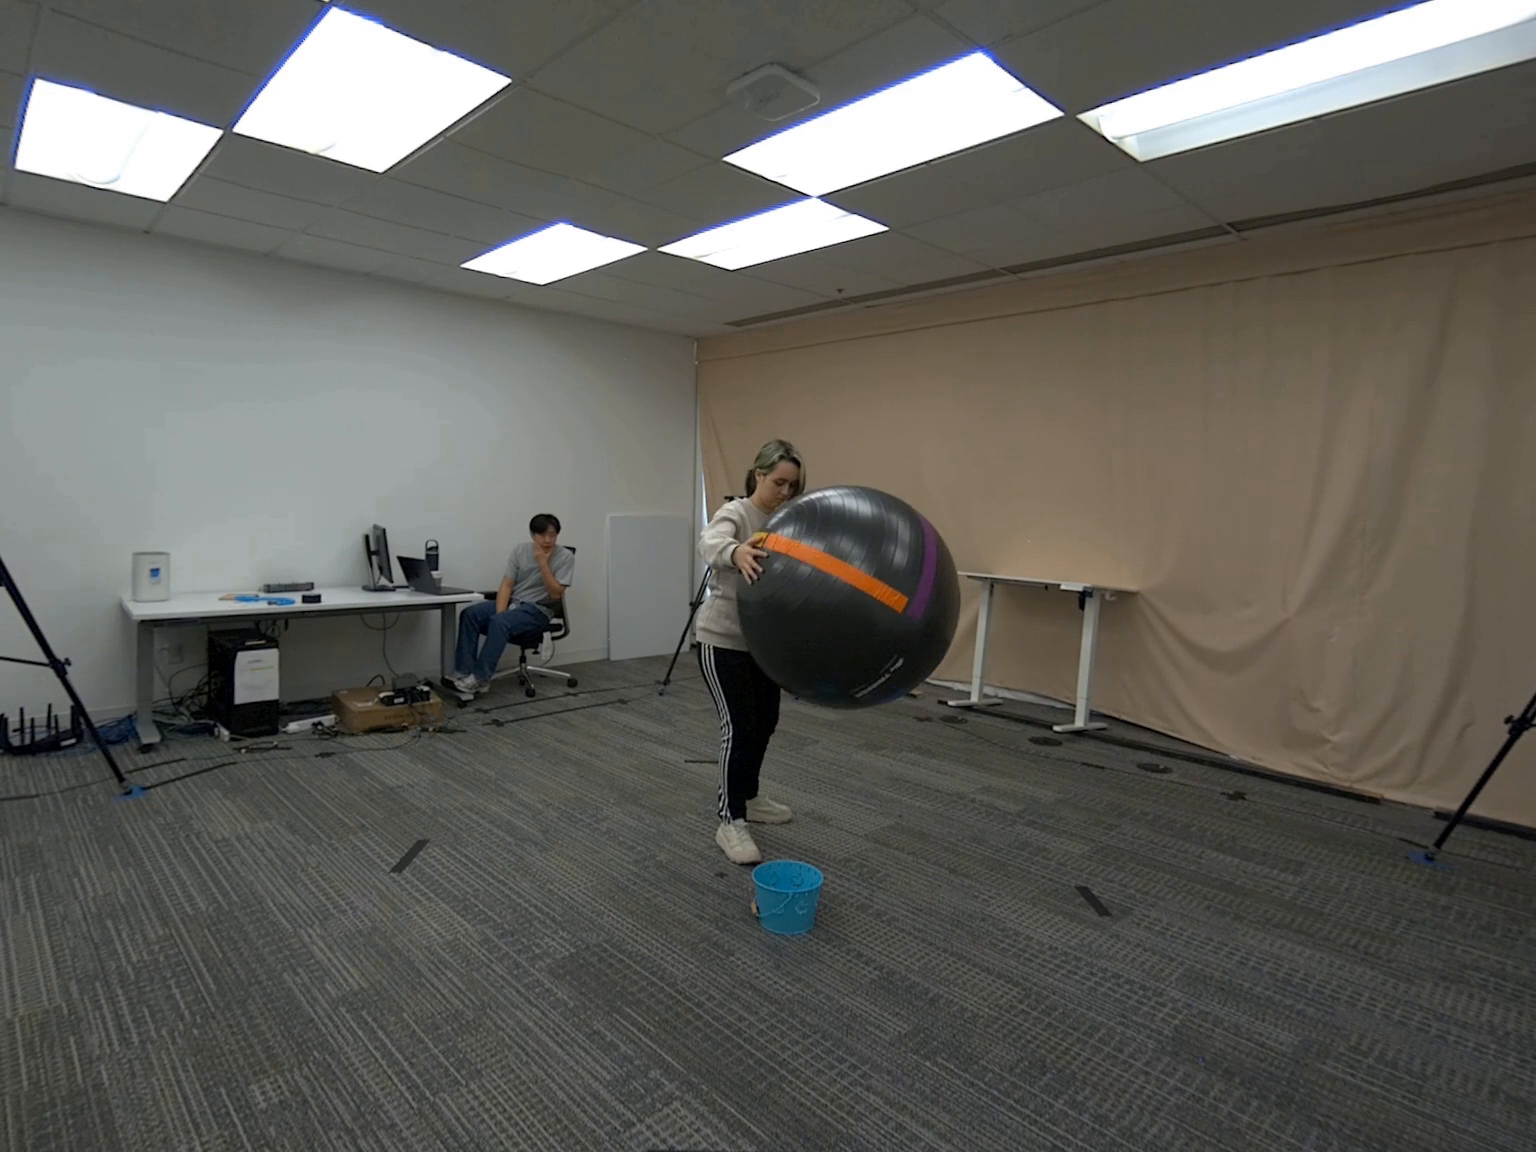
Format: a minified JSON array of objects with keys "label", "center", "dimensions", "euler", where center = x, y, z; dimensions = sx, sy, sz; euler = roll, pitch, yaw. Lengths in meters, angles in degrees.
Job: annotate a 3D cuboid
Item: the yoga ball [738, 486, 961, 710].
[{"label":"yoga ball","center":[0.262,0.077,2.868],"dimensions":[0.757,0.756,0.761],"euler":[1,4,-1]}]
